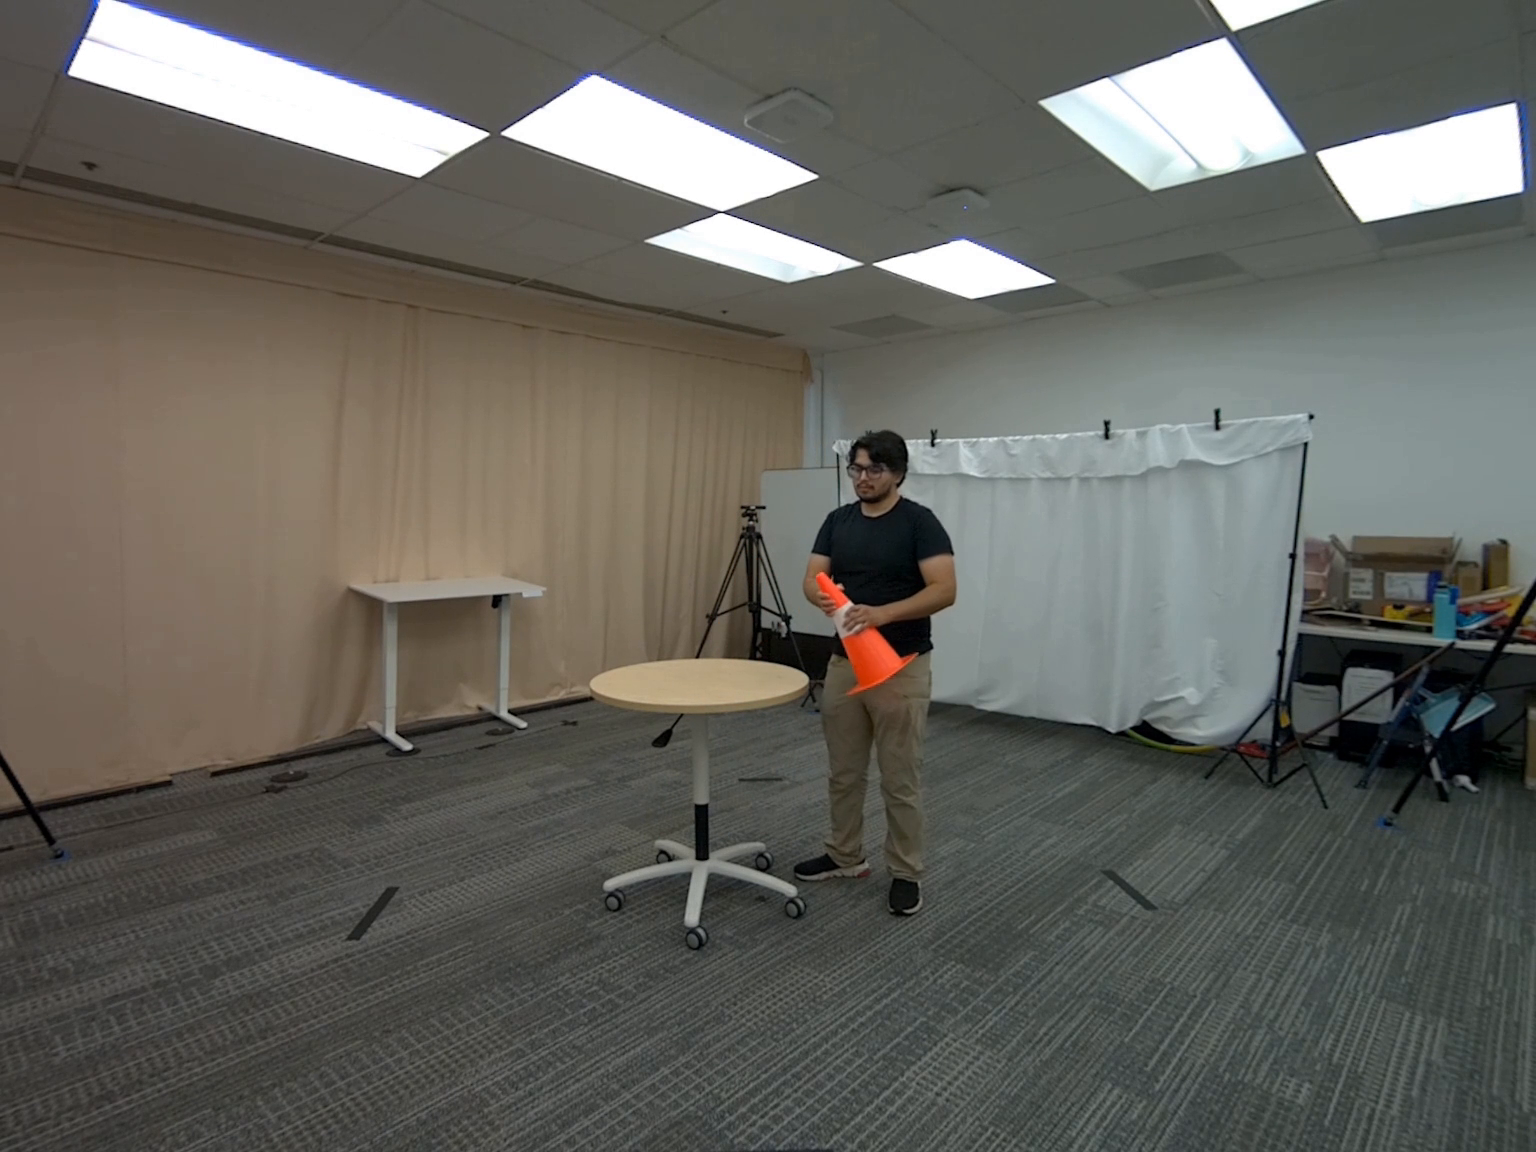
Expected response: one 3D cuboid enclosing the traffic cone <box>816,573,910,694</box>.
[{"bbox_3d":[0.271,0.162,2.727,0.202,0.385,0.206,-31,-2,-30],"label":"traffic cone"}]
